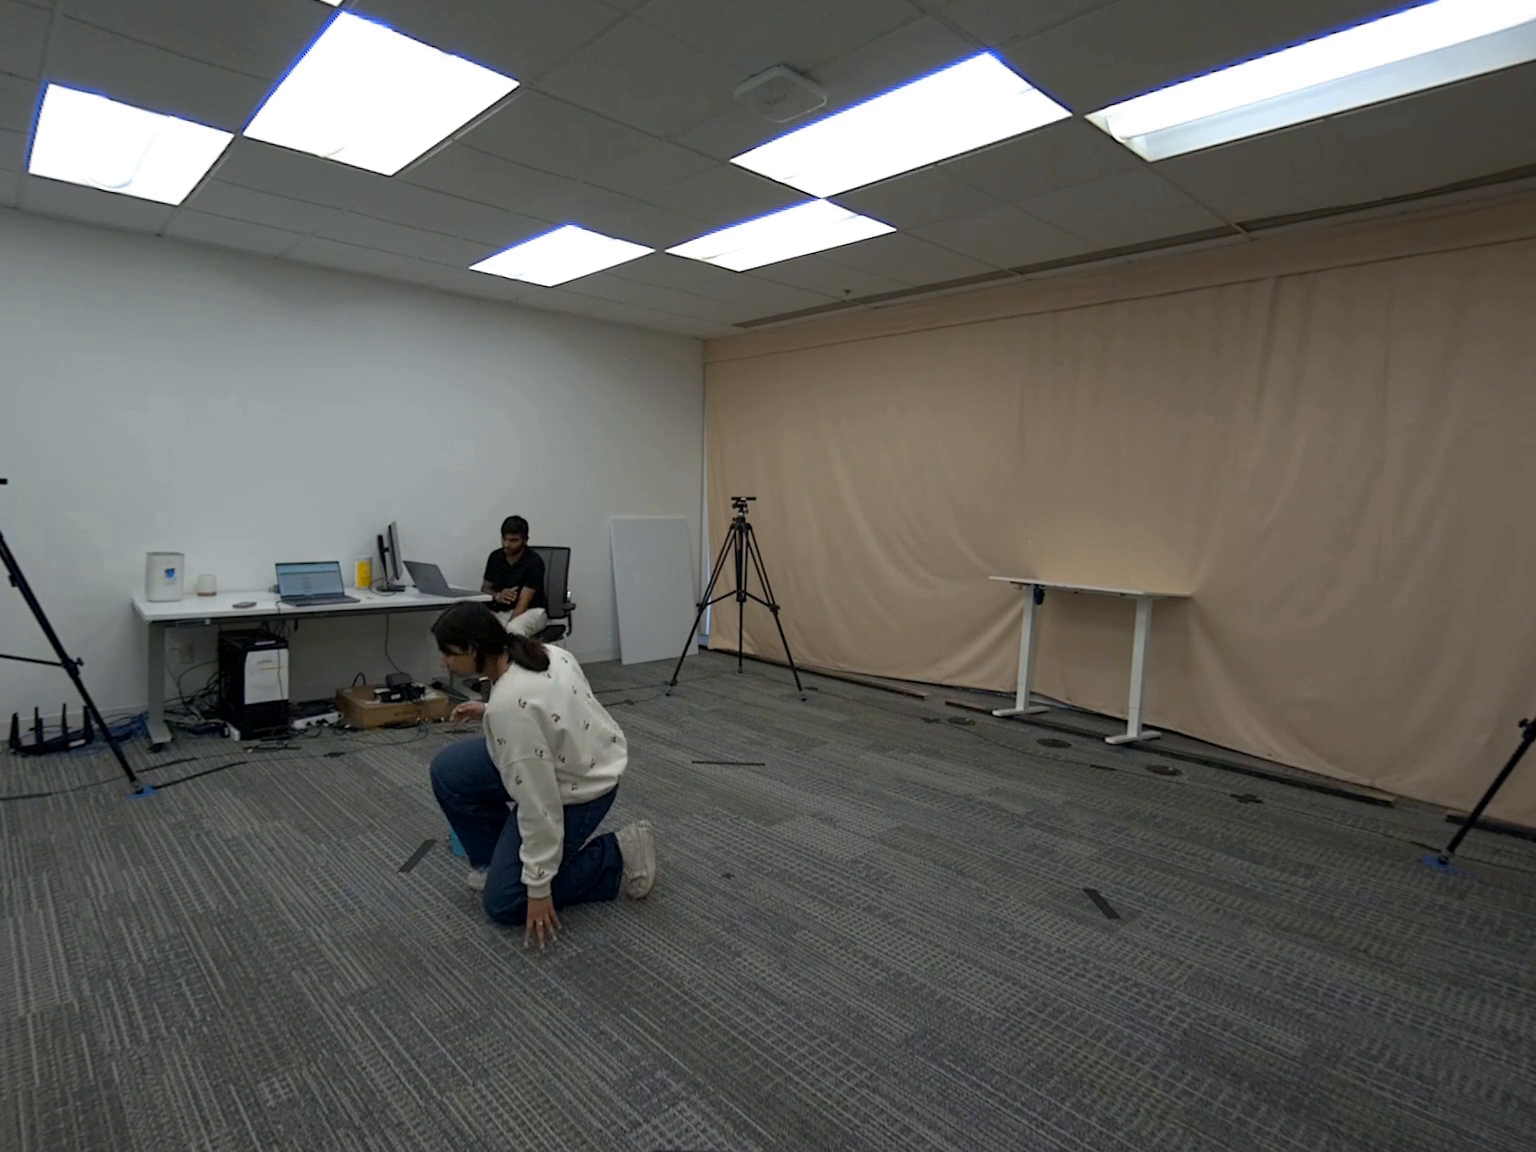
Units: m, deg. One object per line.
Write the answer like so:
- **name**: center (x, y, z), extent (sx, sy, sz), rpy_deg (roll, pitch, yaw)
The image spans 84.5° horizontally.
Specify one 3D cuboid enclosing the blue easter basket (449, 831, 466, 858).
- **blue easter basket**: center (-1.151, 0.991, 3.309), extent (0.243, 0.155, 0.244), rpy_deg (2, 4, -2)
